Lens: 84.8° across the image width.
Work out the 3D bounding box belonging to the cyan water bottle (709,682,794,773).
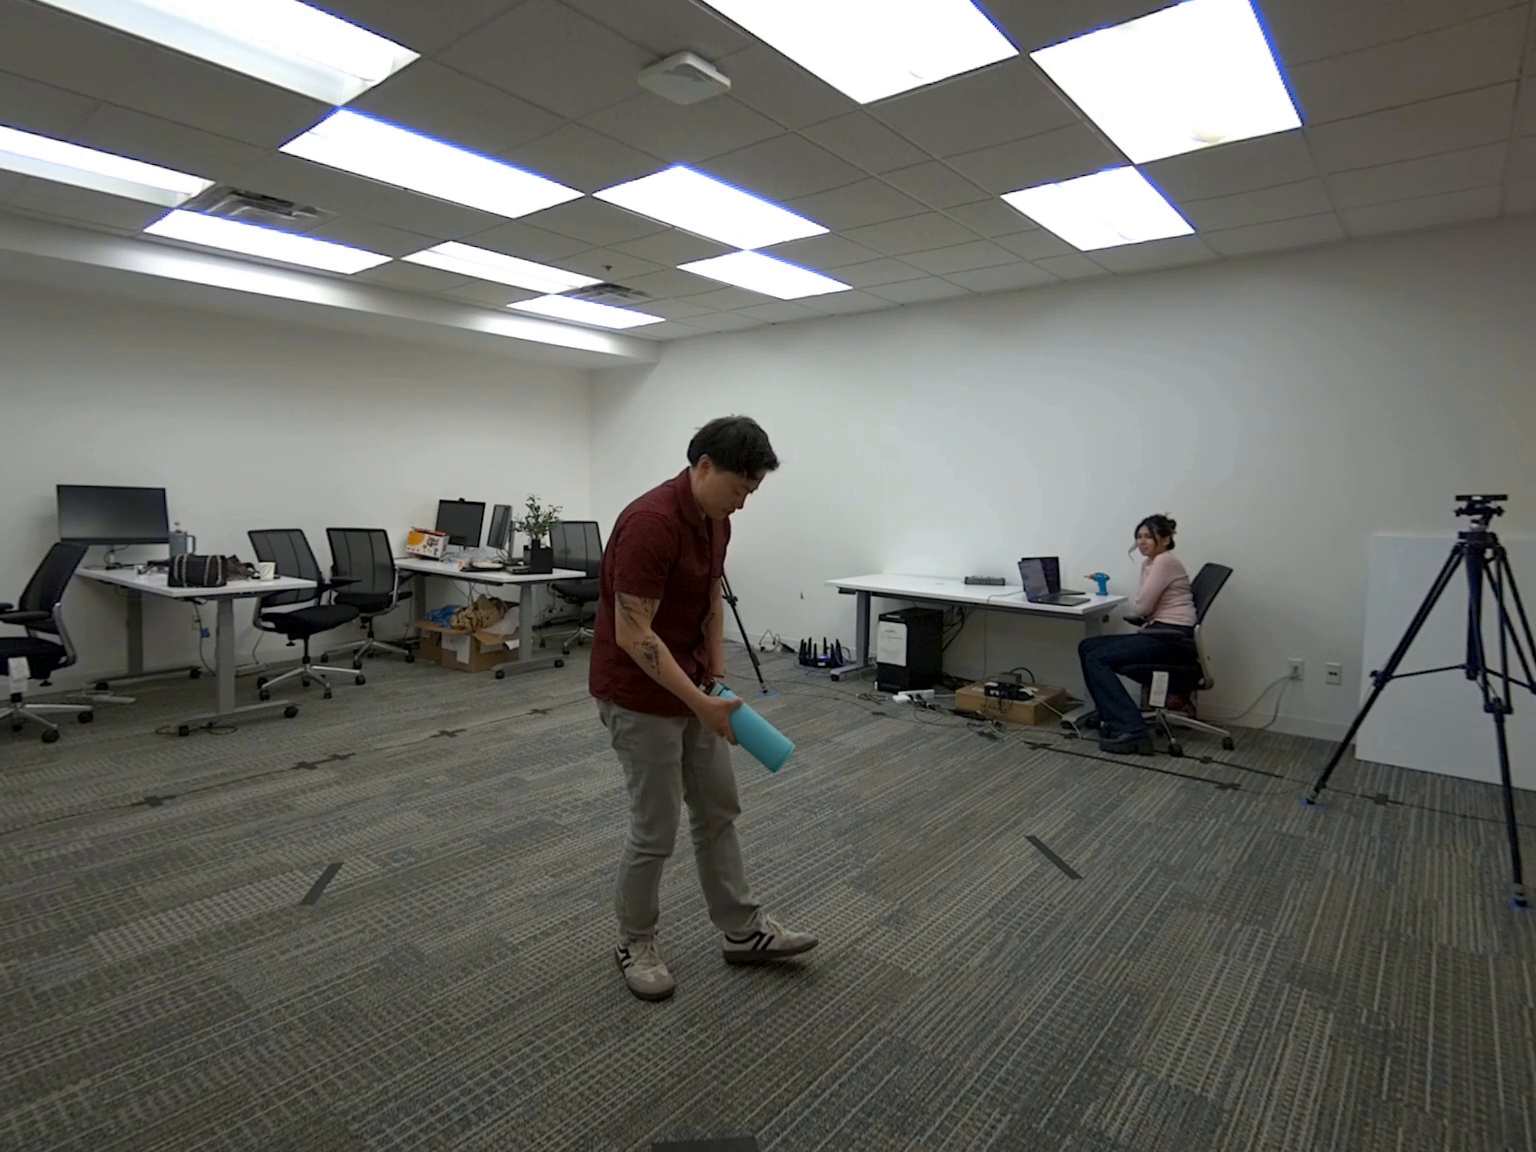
[{"bbox_3d":[-0.070,0.372,2.179,0.287,0.092,0.091,38,10,8],"label":"cyan water bottle"}]
